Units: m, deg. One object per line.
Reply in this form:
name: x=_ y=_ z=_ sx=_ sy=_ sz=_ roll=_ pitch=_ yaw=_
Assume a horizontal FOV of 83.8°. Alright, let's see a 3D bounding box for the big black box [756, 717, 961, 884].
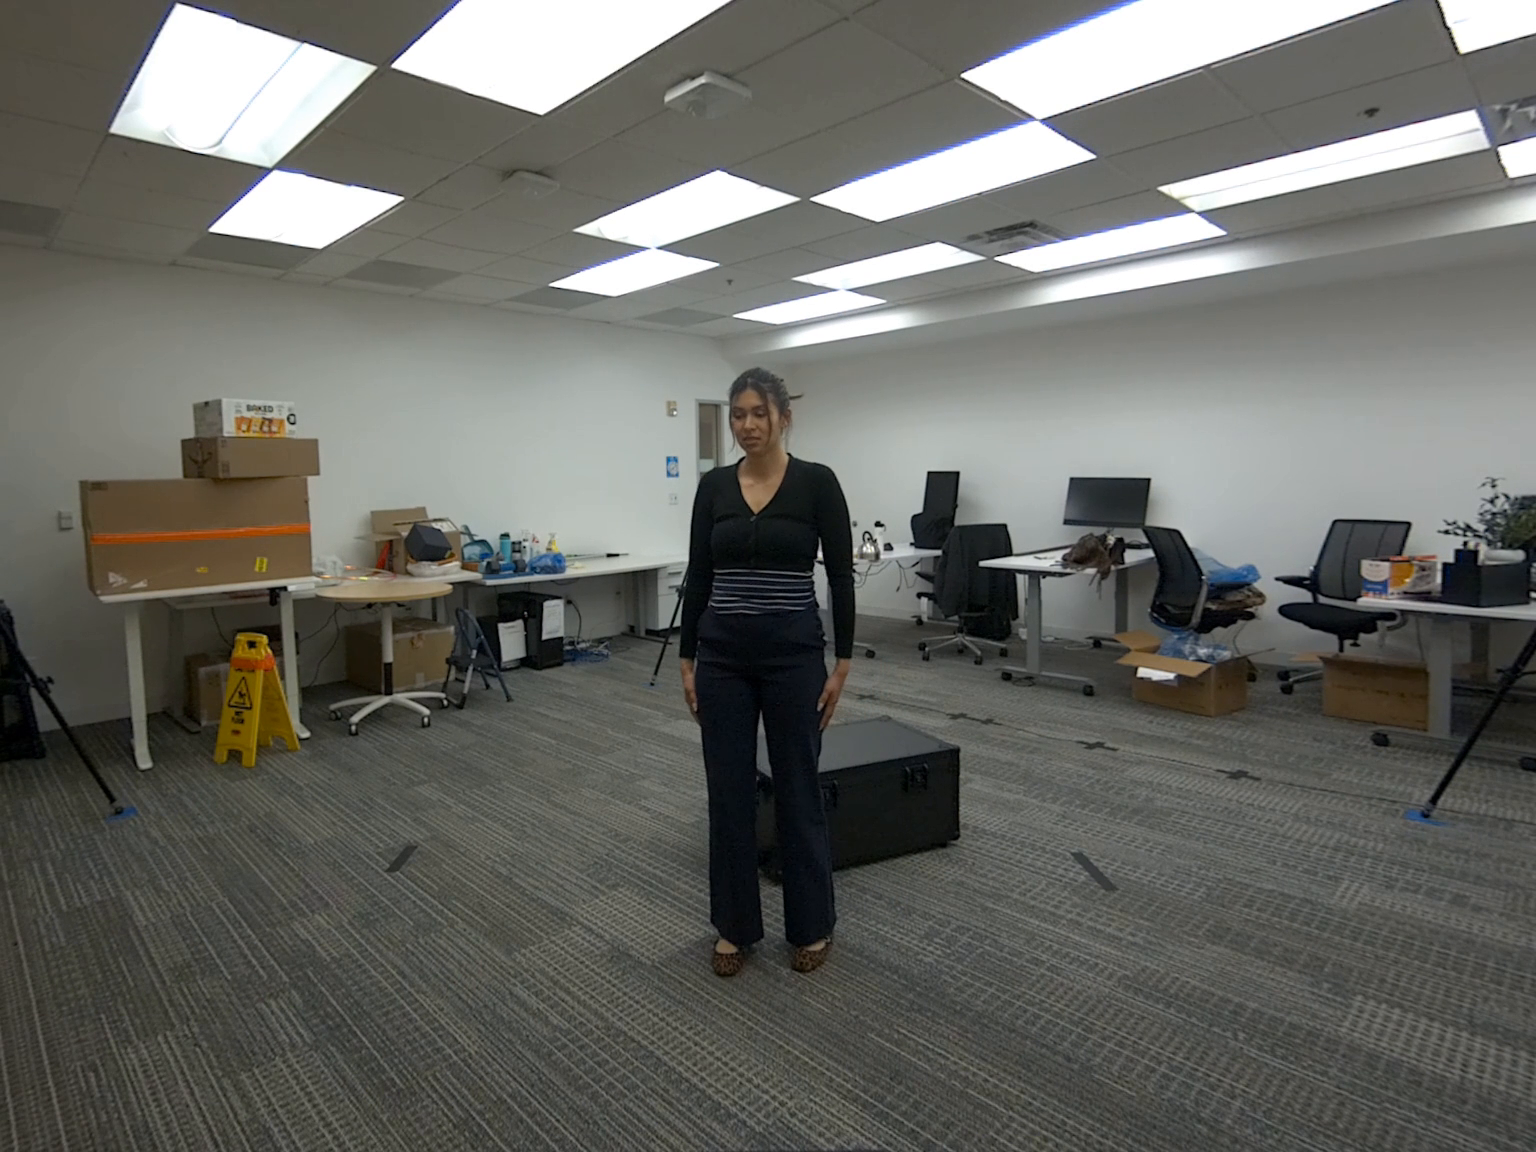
big black box: x=0.297 y=0.830 z=3.290 sx=0.844 sy=0.394 sz=0.535 roll=-4 pitch=7 yaw=-25
